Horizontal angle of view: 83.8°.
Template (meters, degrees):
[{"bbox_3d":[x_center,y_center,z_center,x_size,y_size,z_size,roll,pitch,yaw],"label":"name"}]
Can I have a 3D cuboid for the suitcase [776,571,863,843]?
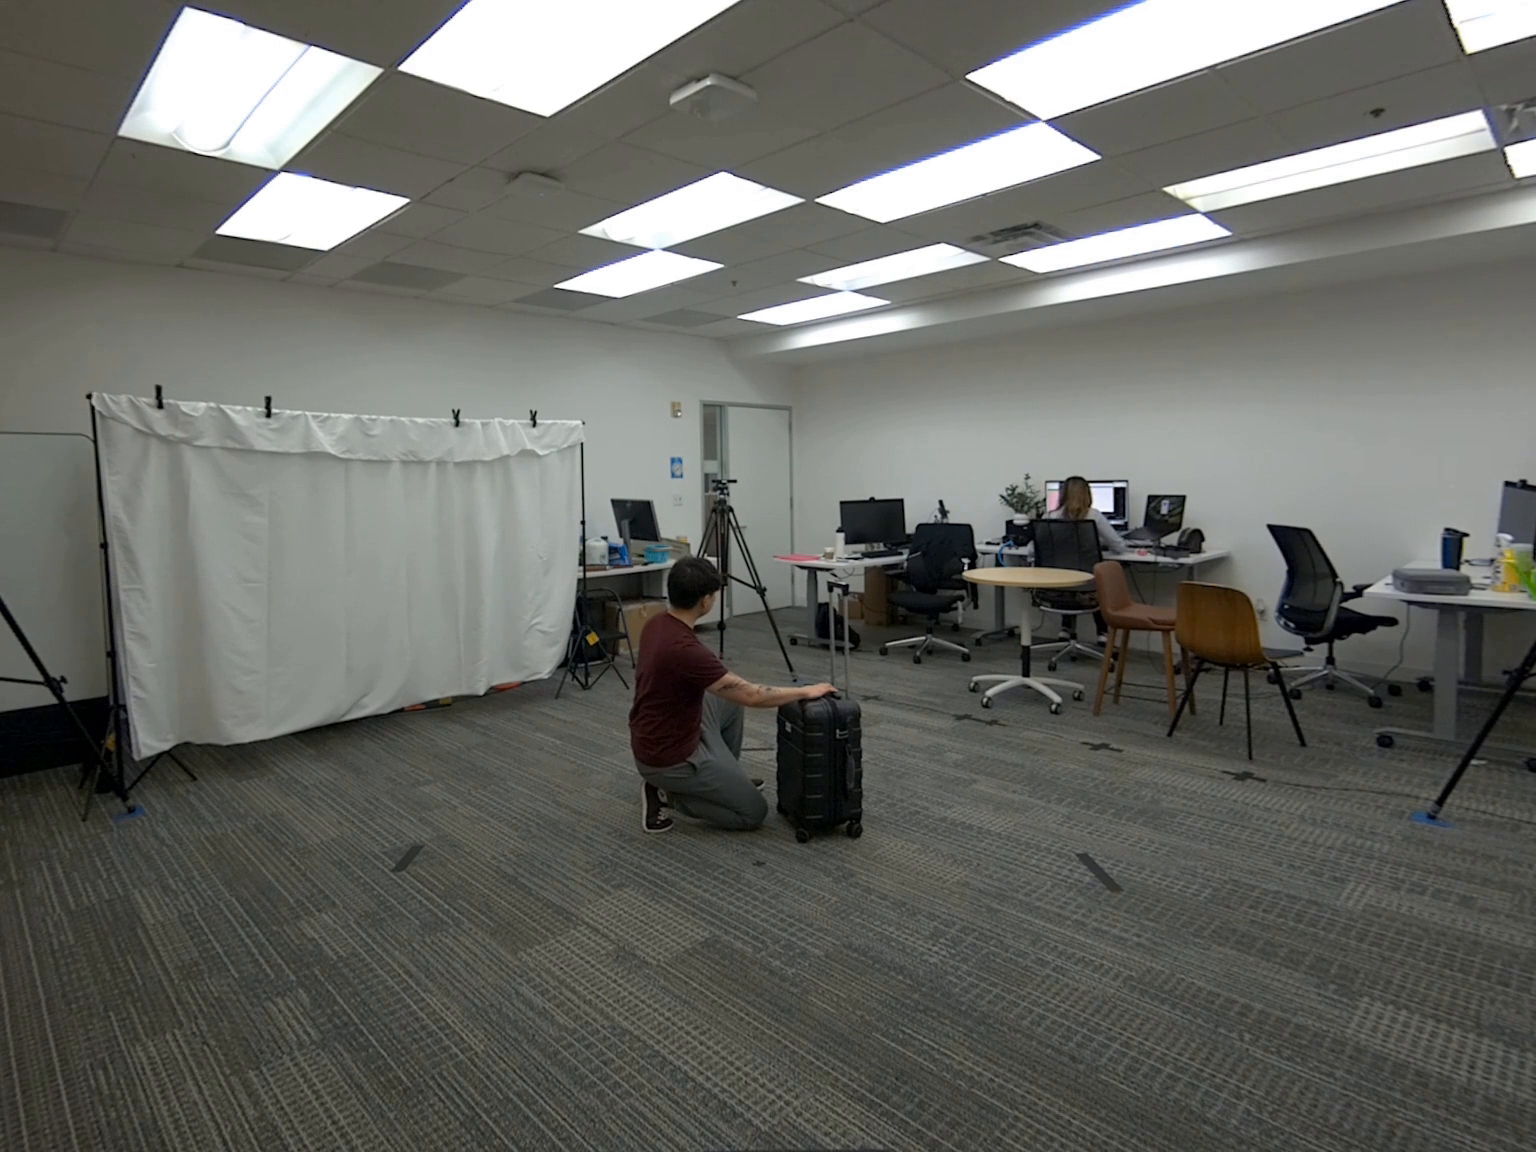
[{"bbox_3d":[0.194,0.525,3.422,0.253,0.976,0.390,-3,3,-16],"label":"suitcase"}]
